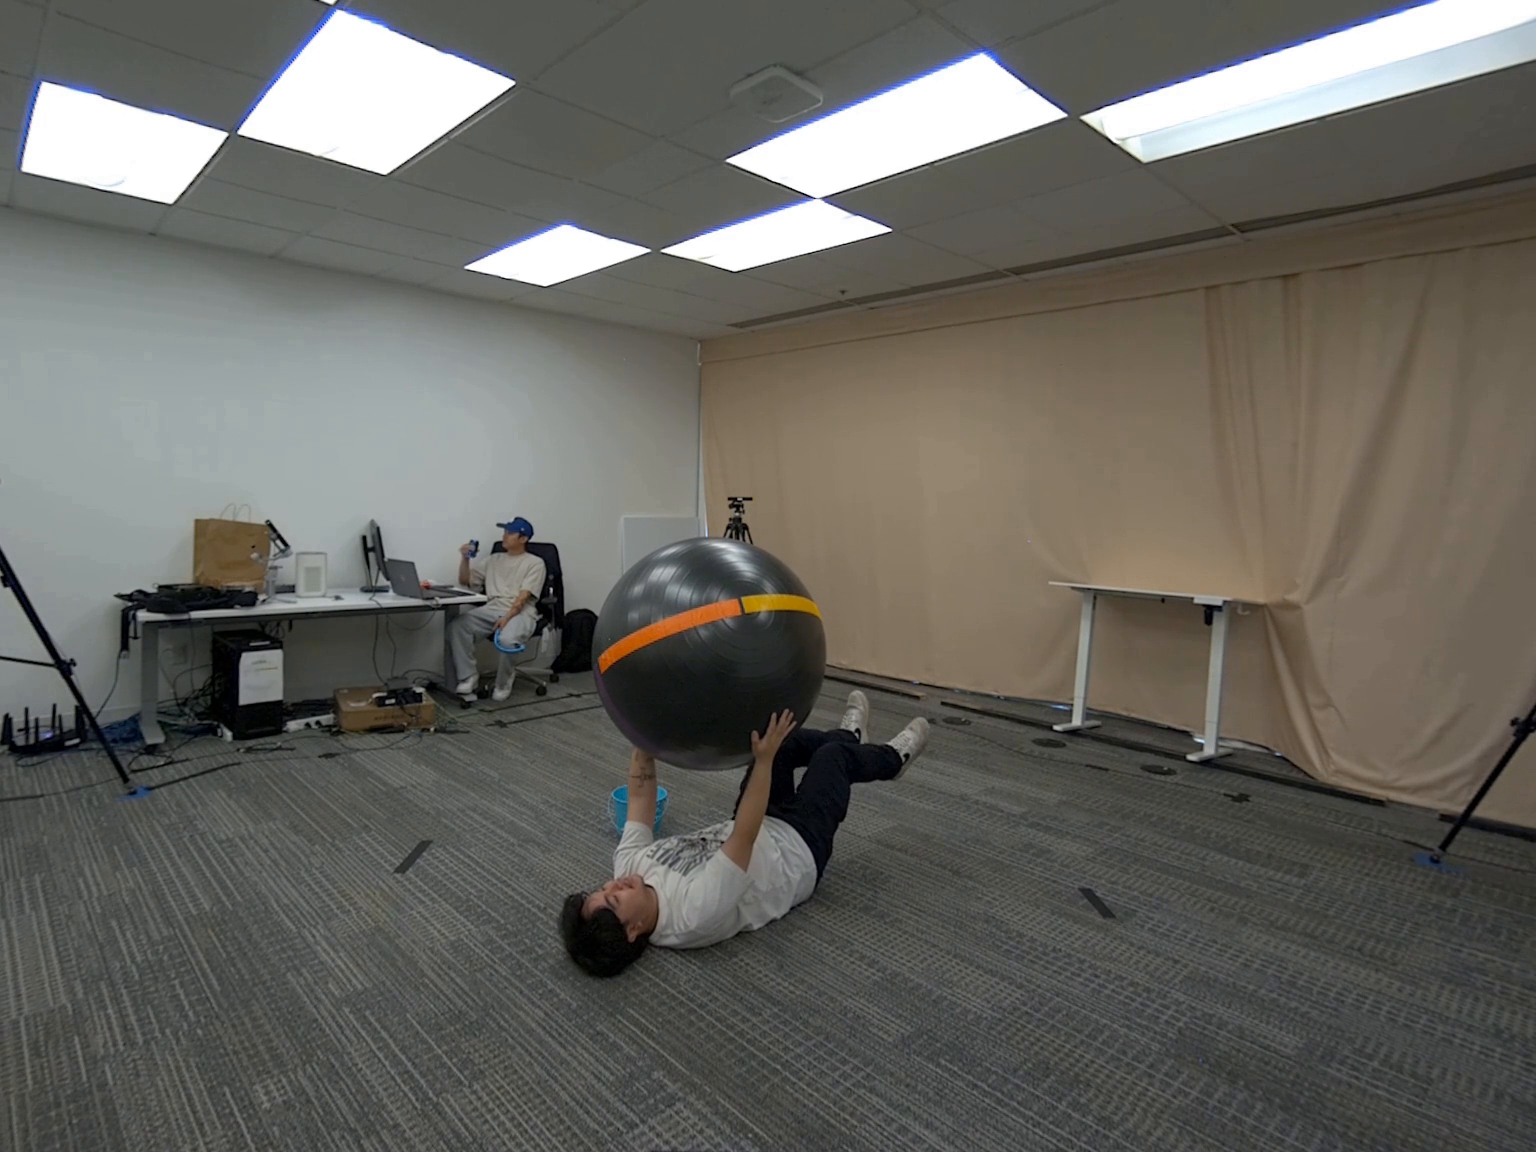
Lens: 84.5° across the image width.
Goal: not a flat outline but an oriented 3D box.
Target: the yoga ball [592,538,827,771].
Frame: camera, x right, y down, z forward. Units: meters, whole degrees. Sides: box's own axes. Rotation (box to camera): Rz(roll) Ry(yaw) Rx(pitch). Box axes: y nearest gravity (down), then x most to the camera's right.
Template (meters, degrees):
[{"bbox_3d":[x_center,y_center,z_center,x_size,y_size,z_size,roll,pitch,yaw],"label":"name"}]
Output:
[{"bbox_3d":[-0.194,0.257,2.756,0.757,0.756,0.761,1,4,-1],"label":"yoga ball"}]
